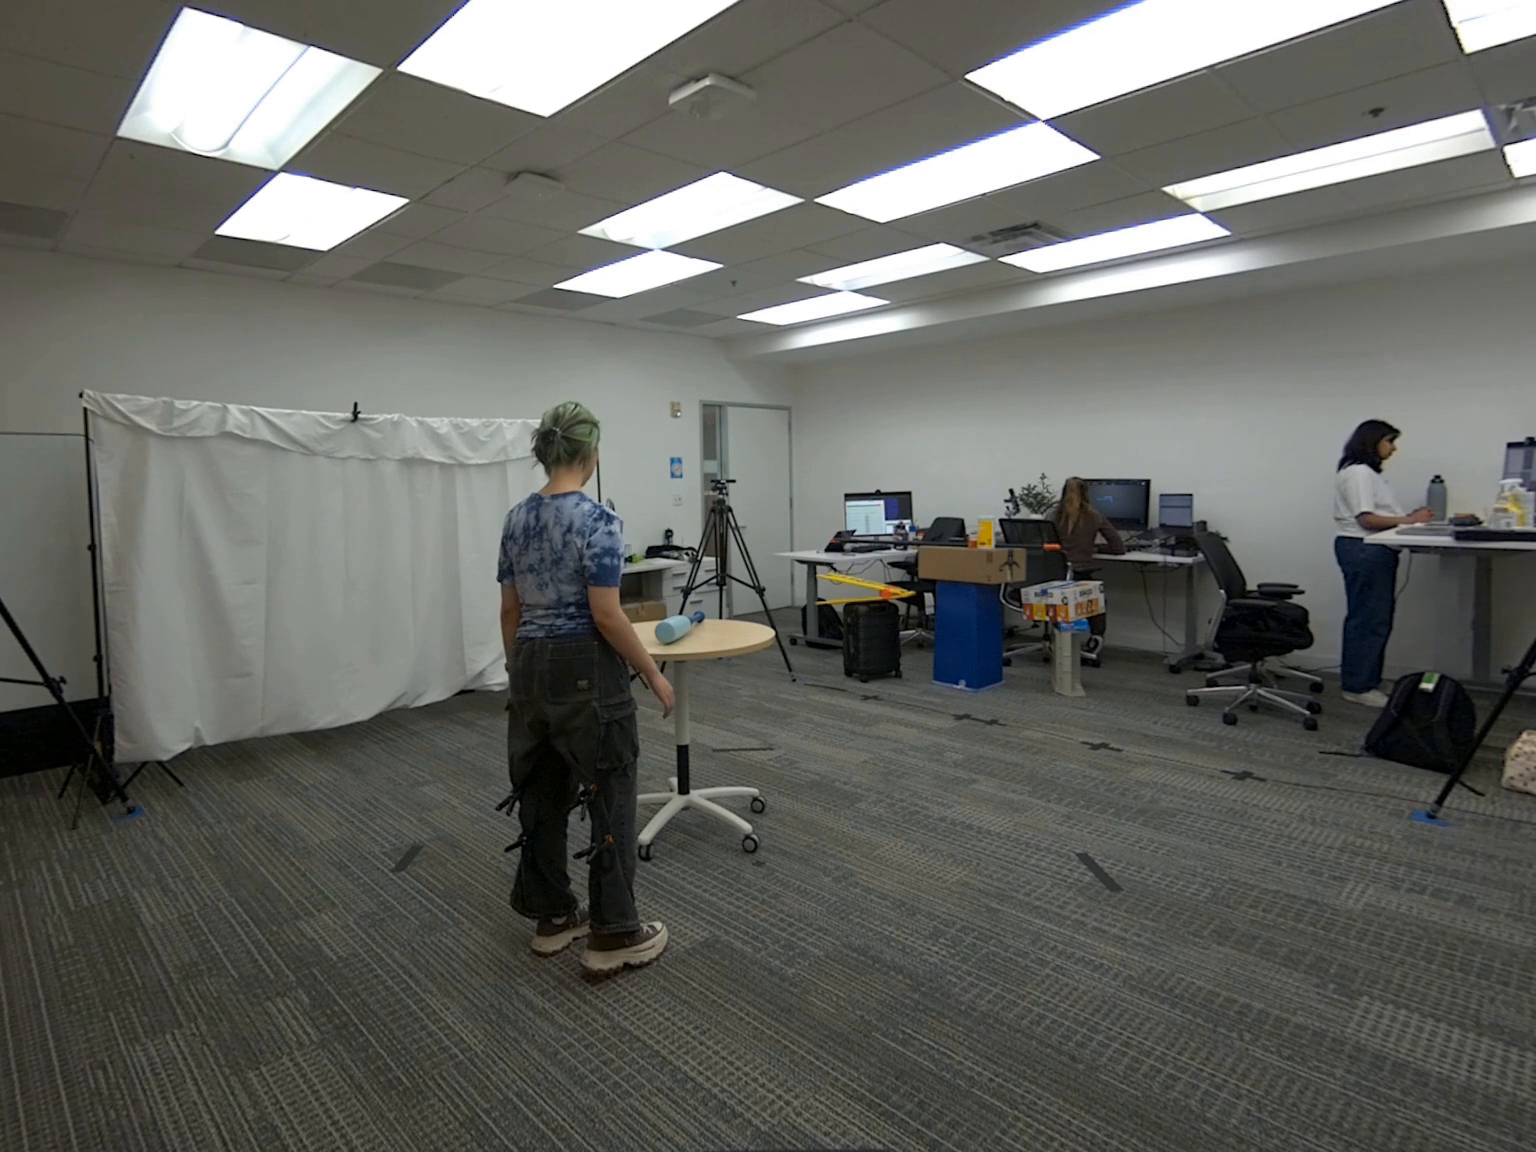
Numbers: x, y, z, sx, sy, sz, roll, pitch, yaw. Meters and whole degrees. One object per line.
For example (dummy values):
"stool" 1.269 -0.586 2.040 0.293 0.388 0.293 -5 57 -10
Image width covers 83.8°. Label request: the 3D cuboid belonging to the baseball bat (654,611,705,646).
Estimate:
"baseball bat" -0.341 0.194 3.443 0.090 0.089 0.539 0 3 7
